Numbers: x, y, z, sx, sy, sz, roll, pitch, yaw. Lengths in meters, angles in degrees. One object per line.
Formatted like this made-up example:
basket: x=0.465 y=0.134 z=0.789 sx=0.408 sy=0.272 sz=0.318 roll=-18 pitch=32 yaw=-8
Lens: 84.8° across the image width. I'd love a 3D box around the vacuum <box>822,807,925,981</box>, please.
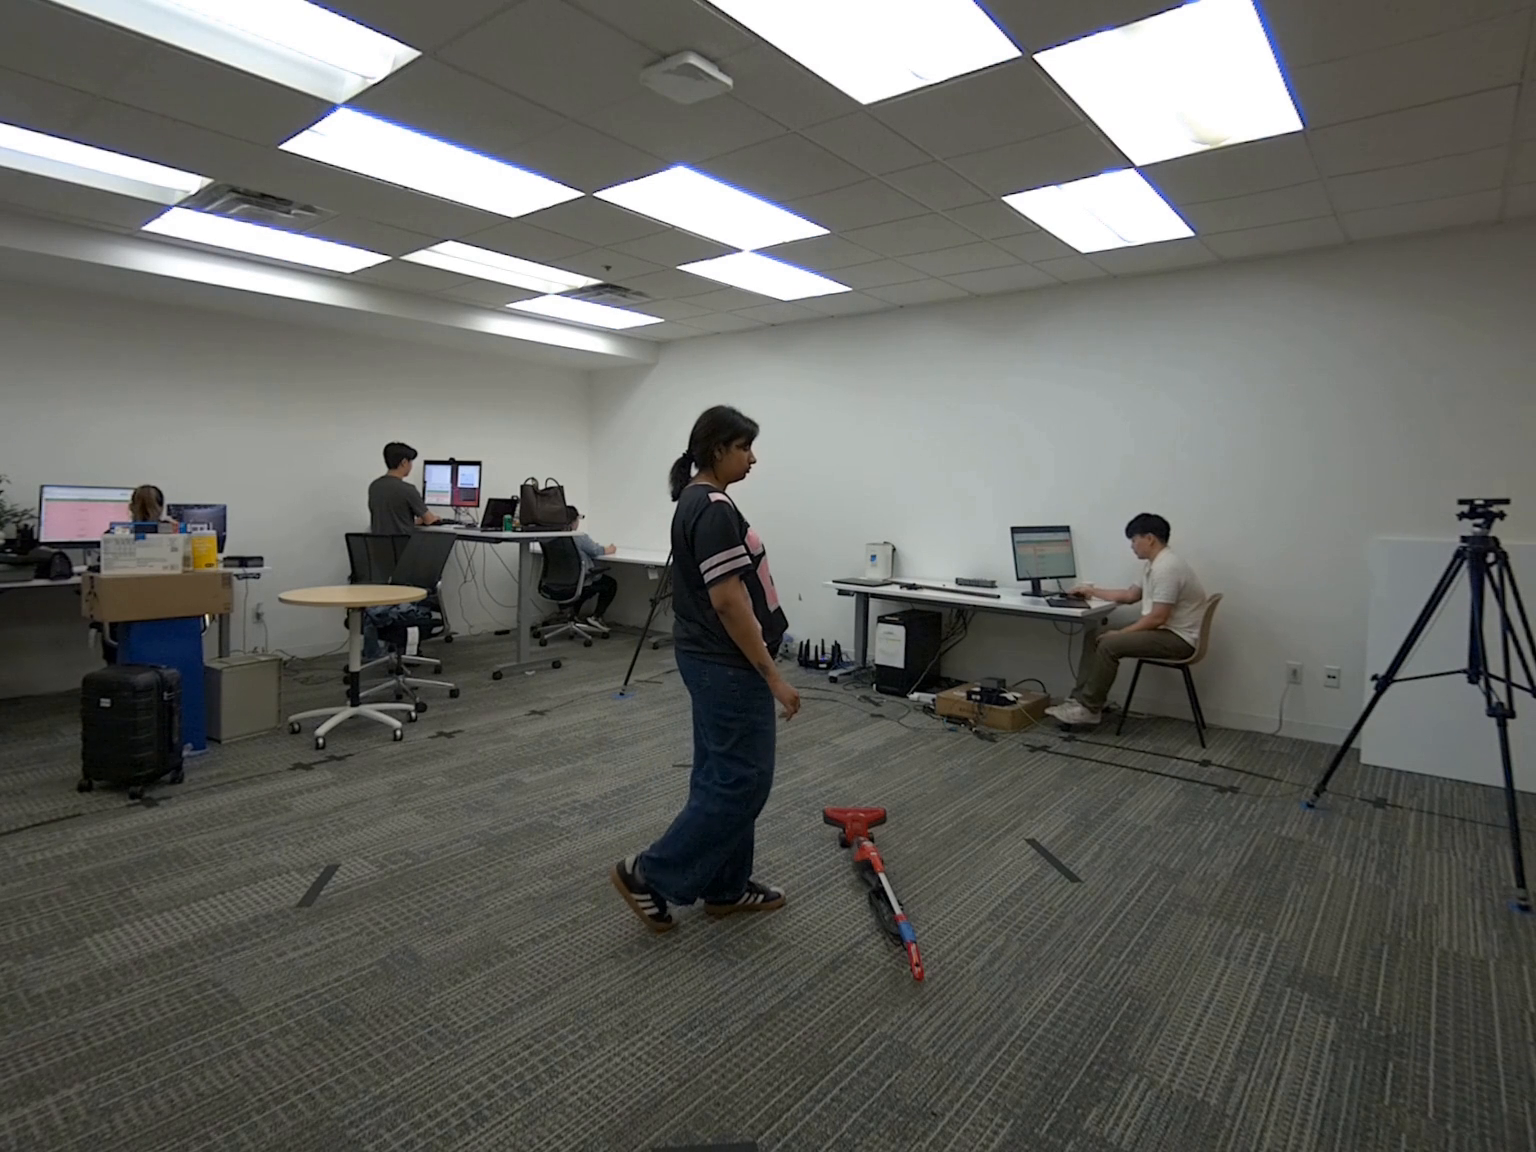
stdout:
vacuum: x=0.372 y=1.044 z=2.849 sx=0.251 sy=0.143 sz=1.058 roll=1 pitch=6 yaw=-5
